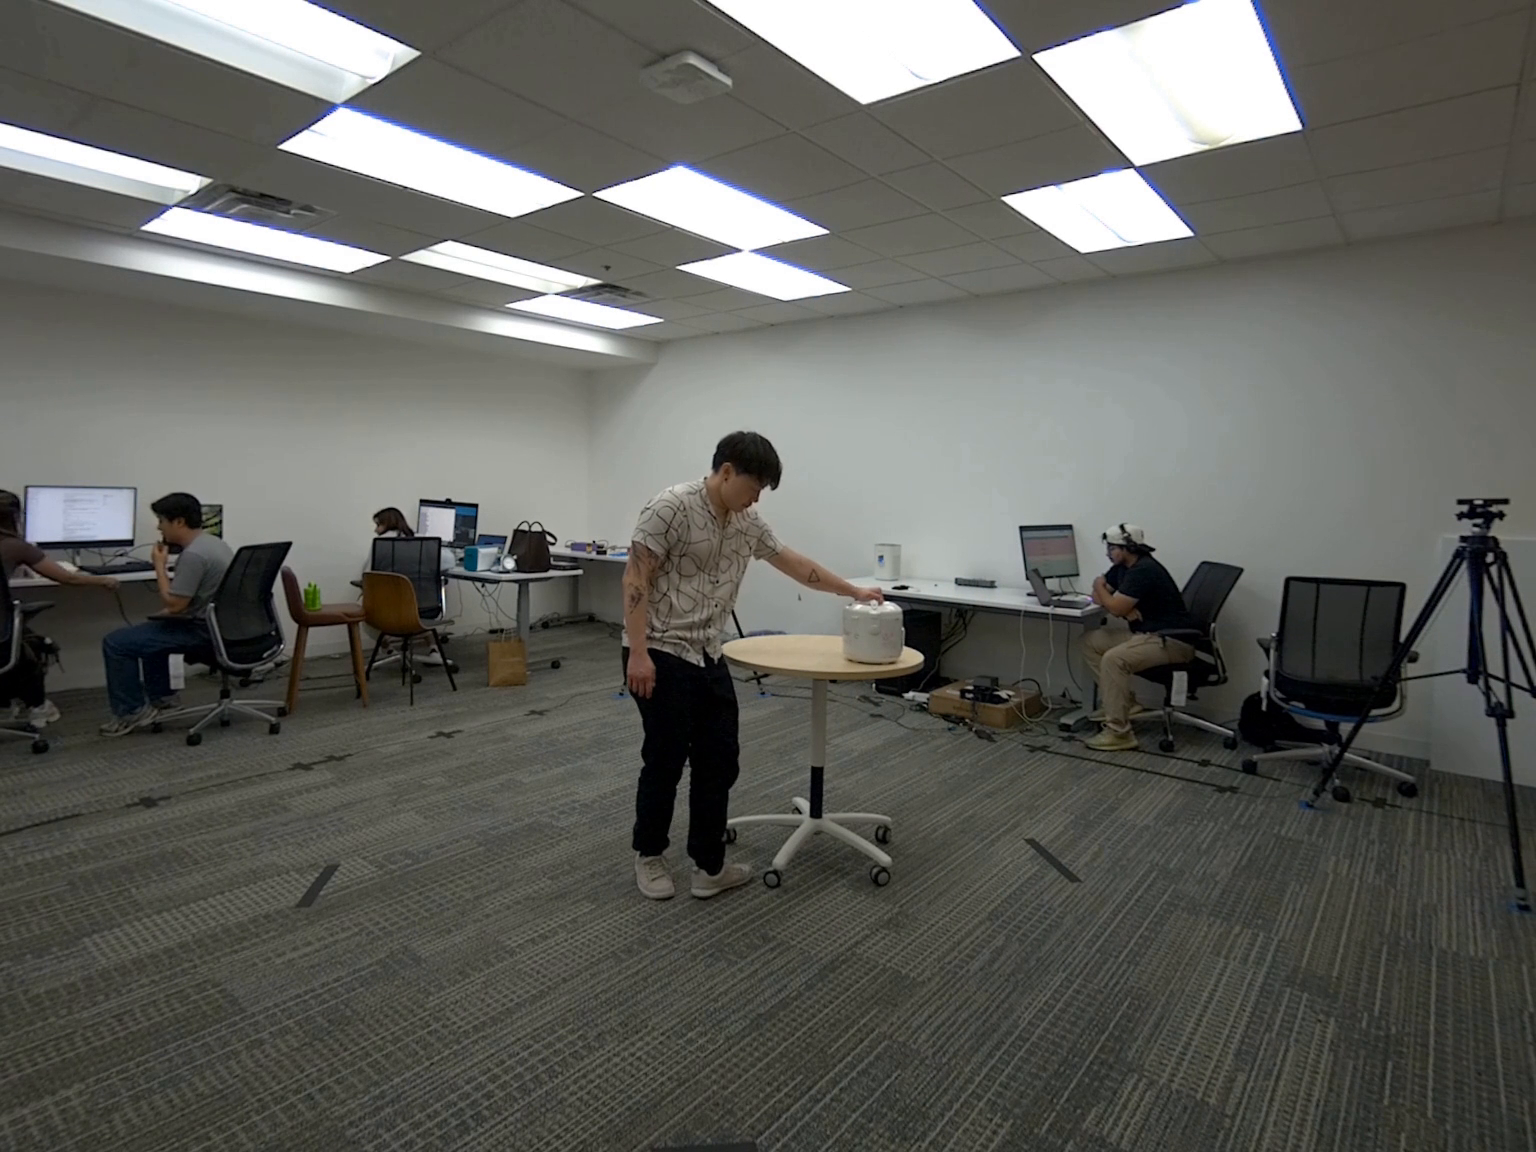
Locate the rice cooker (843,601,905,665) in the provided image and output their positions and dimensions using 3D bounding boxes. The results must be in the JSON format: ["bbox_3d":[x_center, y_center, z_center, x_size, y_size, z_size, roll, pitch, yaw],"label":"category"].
[{"bbox_3d":[0.372,0.189,3.080,0.219,0.232,0.220,0,5,6],"label":"rice cooker"}]
